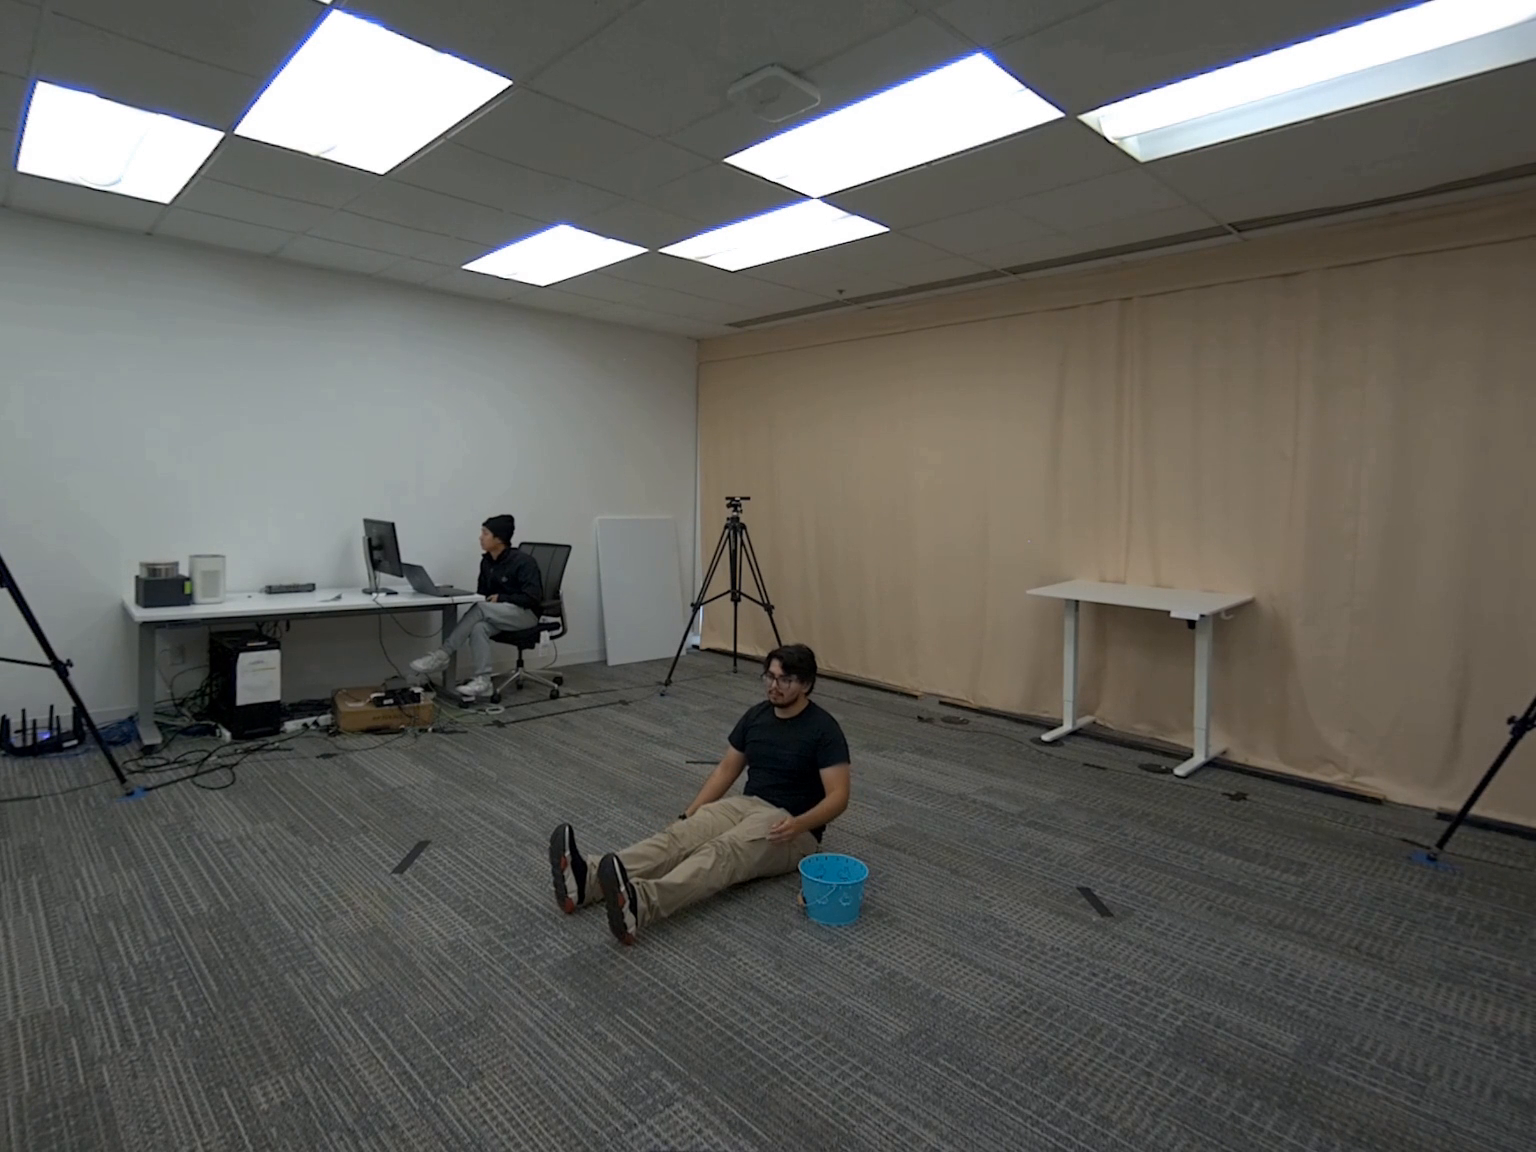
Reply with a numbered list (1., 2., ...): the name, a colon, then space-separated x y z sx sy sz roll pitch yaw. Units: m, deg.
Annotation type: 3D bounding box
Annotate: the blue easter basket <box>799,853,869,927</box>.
1. blue easter basket: 0.198 1.056 2.845 0.243 0.155 0.245 1 6 -2
